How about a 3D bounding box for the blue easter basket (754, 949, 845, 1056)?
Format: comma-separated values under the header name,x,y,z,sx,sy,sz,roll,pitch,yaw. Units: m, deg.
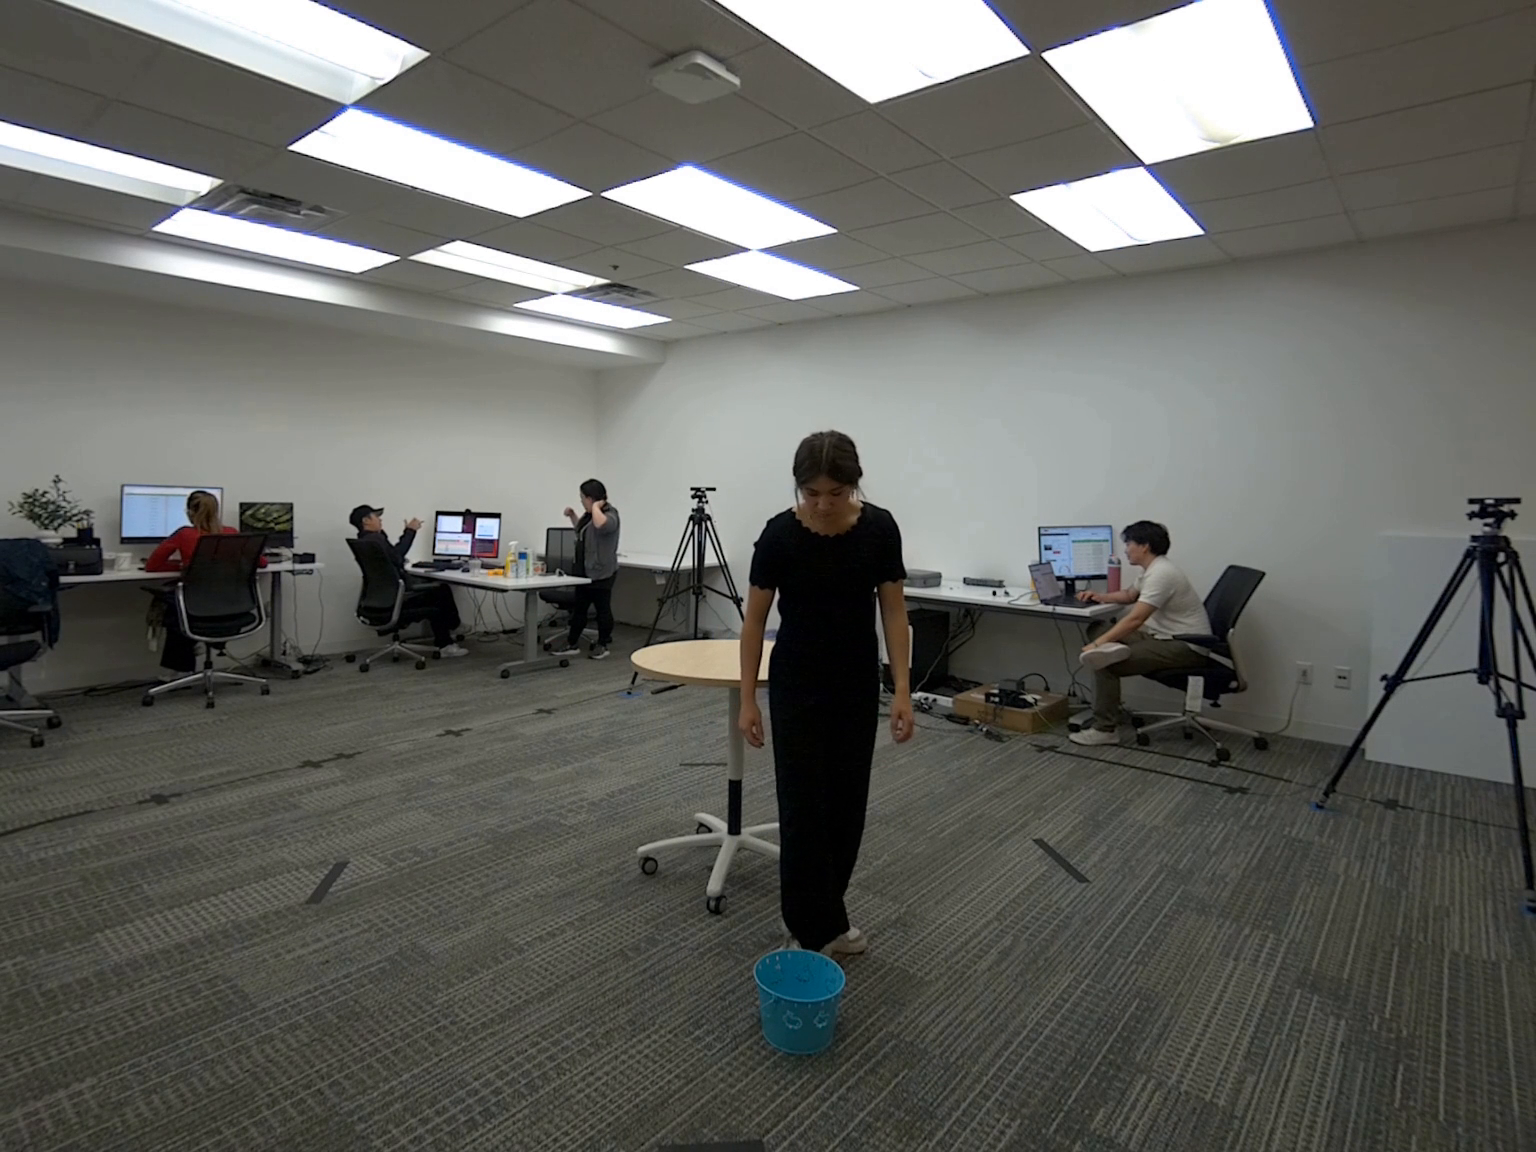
name,x,y,z,sx,sy,sz,roll,pitch,yaw
blue easter basket,0.077,1.084,2.190,0.243,0.155,0.245,2,5,-2
